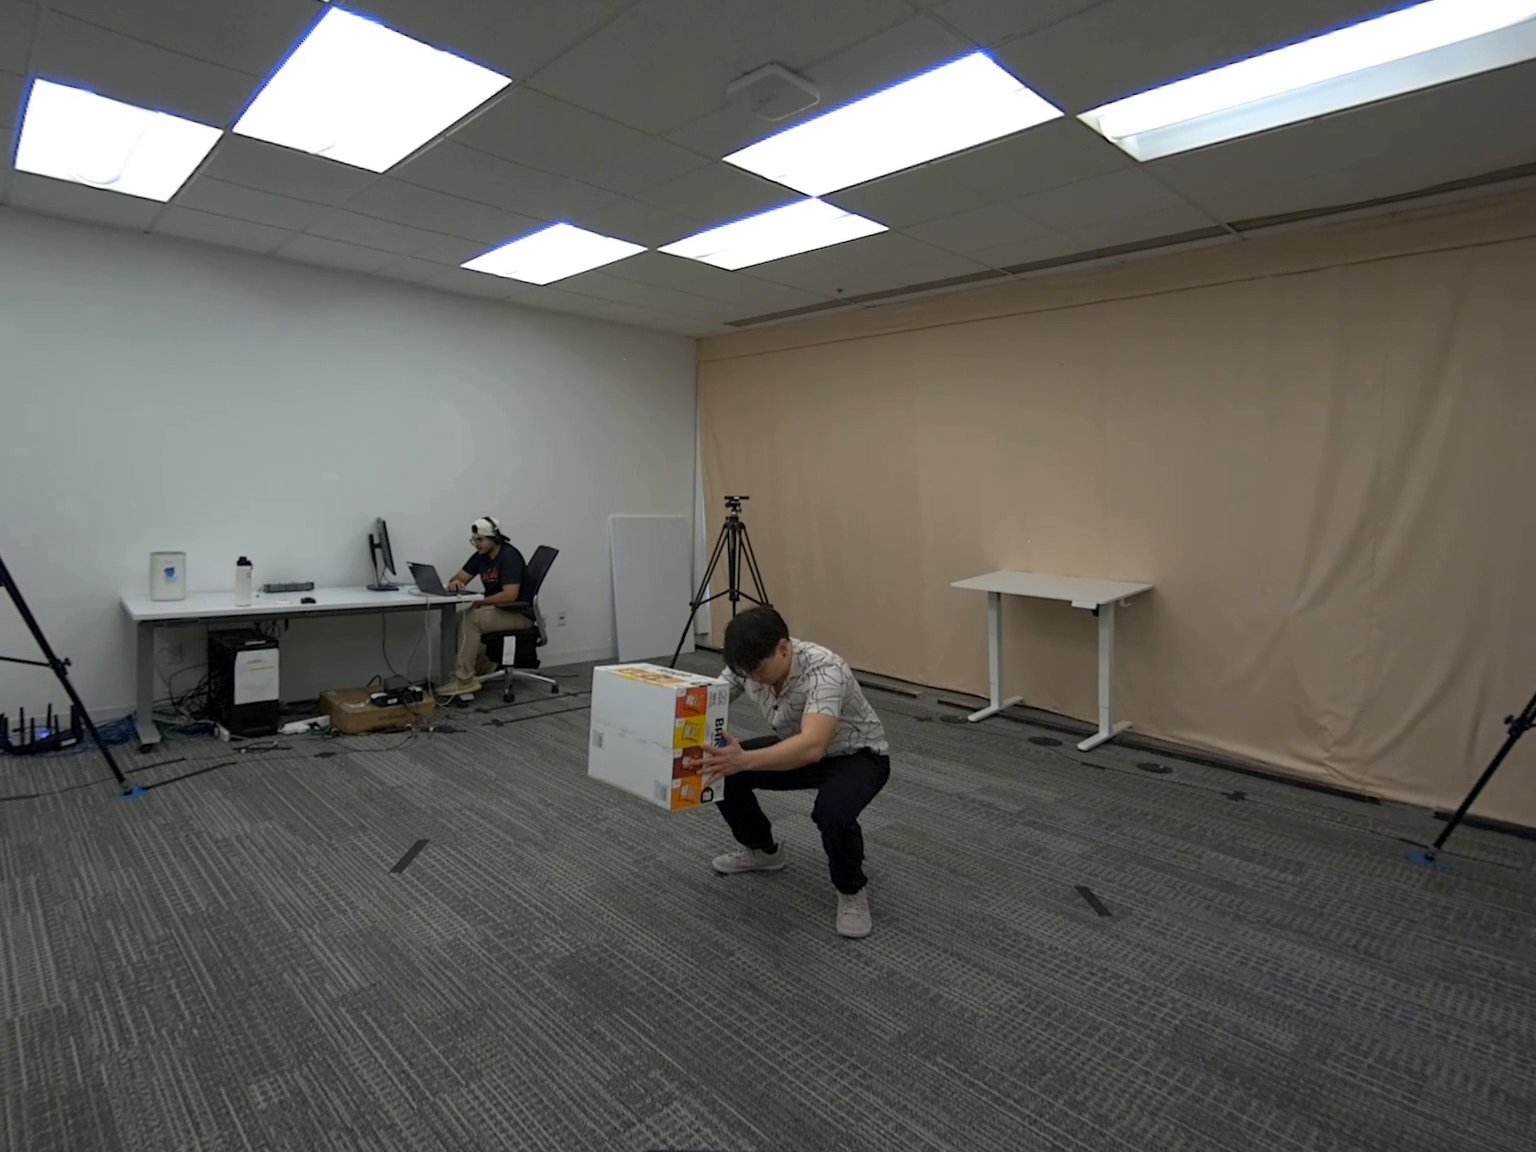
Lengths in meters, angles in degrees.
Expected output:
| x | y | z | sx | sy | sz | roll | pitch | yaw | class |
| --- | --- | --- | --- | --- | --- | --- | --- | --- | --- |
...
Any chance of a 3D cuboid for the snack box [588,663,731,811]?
| x | y | z | sx | sy | sz | roll | pitch | yaw | class |
| --- | --- | --- | --- | --- | --- | --- | --- | --- | --- |
| -0.337 | 0.463 | 2.506 | 0.415 | 0.340 | 0.200 | 4 | 0 | 45 | snack box |
